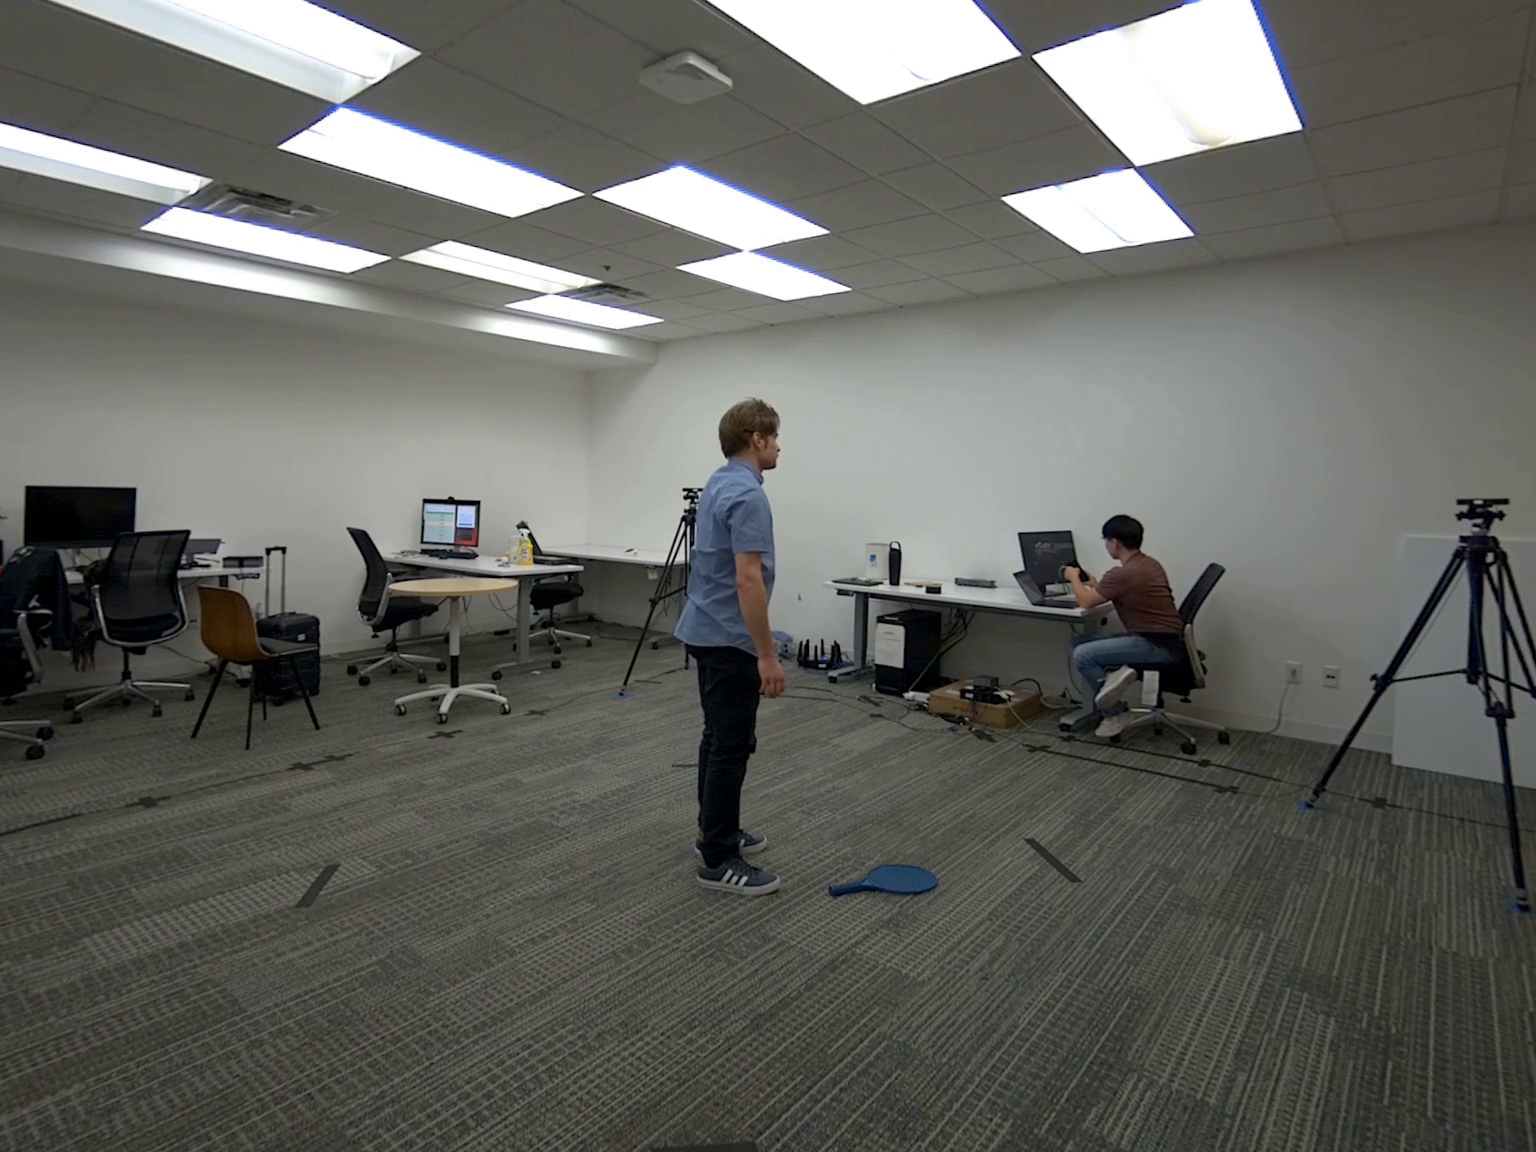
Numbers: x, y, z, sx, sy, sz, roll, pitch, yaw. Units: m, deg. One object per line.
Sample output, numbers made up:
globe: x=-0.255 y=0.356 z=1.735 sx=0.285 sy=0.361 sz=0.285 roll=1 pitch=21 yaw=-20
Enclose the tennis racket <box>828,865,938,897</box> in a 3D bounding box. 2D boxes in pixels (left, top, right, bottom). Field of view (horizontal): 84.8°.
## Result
tennis racket: x=0.400 y=1.077 z=3.015 sx=0.422 sy=0.031 sz=0.220 roll=0 pitch=6 yaw=-27
